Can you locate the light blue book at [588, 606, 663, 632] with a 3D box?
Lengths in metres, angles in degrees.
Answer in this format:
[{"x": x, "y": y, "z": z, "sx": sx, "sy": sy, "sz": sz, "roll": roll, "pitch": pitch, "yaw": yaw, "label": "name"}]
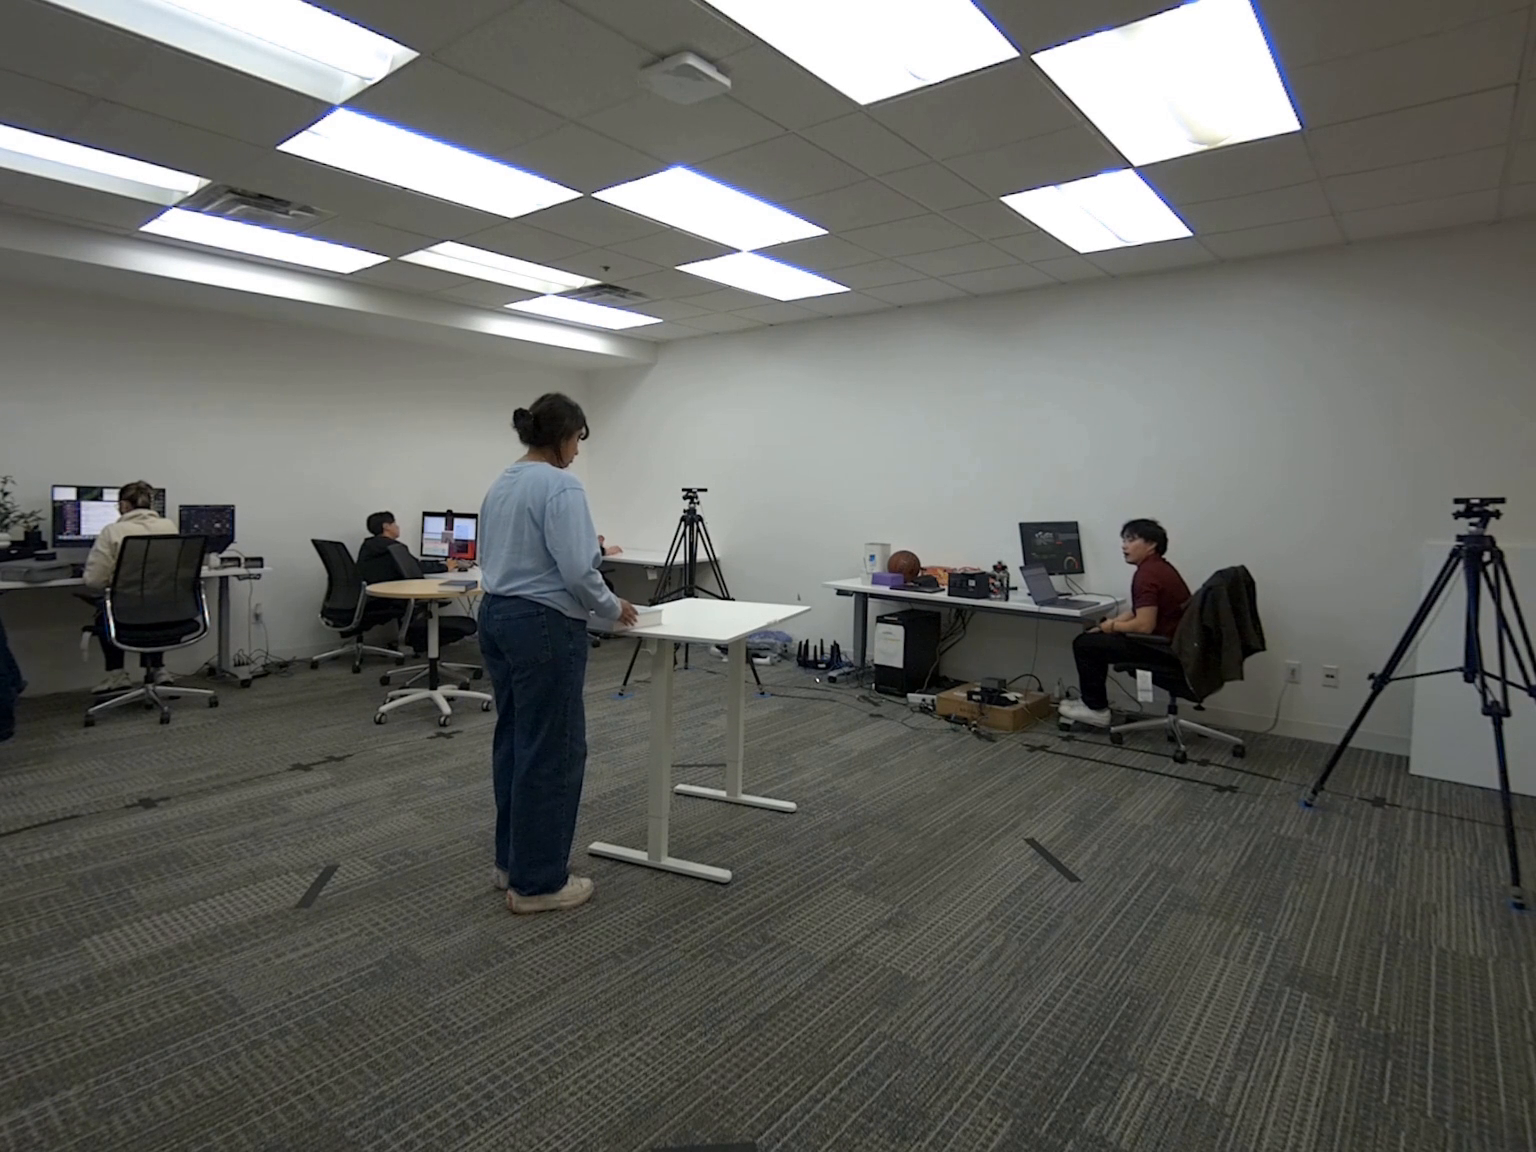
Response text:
[{"x": -0.548, "y": 0.154, "z": 3.118, "sx": 0.198, "sy": 0.059, "sz": 0.254, "roll": 5, "pitch": 7, "yaw": 37, "label": "light blue book"}]
